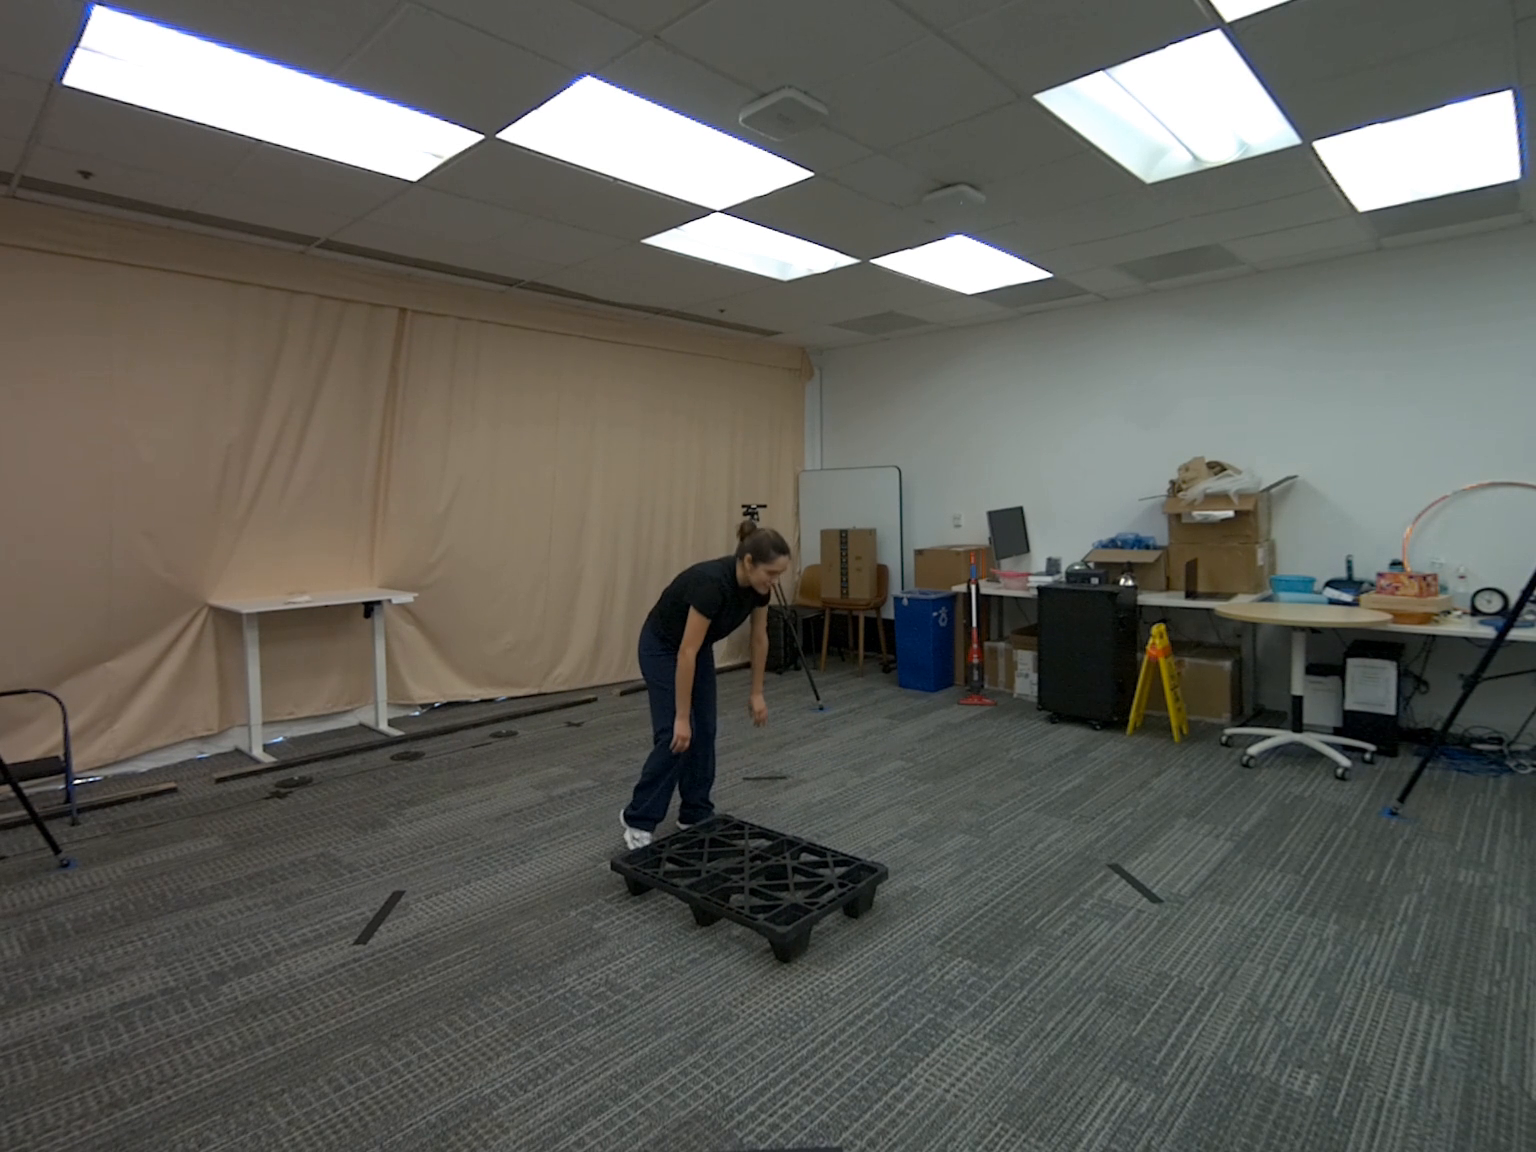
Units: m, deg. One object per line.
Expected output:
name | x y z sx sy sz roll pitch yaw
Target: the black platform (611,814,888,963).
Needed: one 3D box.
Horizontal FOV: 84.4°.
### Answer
black platform | -0.058 1.076 2.966 0.832 0.143 0.587 3 6 40
